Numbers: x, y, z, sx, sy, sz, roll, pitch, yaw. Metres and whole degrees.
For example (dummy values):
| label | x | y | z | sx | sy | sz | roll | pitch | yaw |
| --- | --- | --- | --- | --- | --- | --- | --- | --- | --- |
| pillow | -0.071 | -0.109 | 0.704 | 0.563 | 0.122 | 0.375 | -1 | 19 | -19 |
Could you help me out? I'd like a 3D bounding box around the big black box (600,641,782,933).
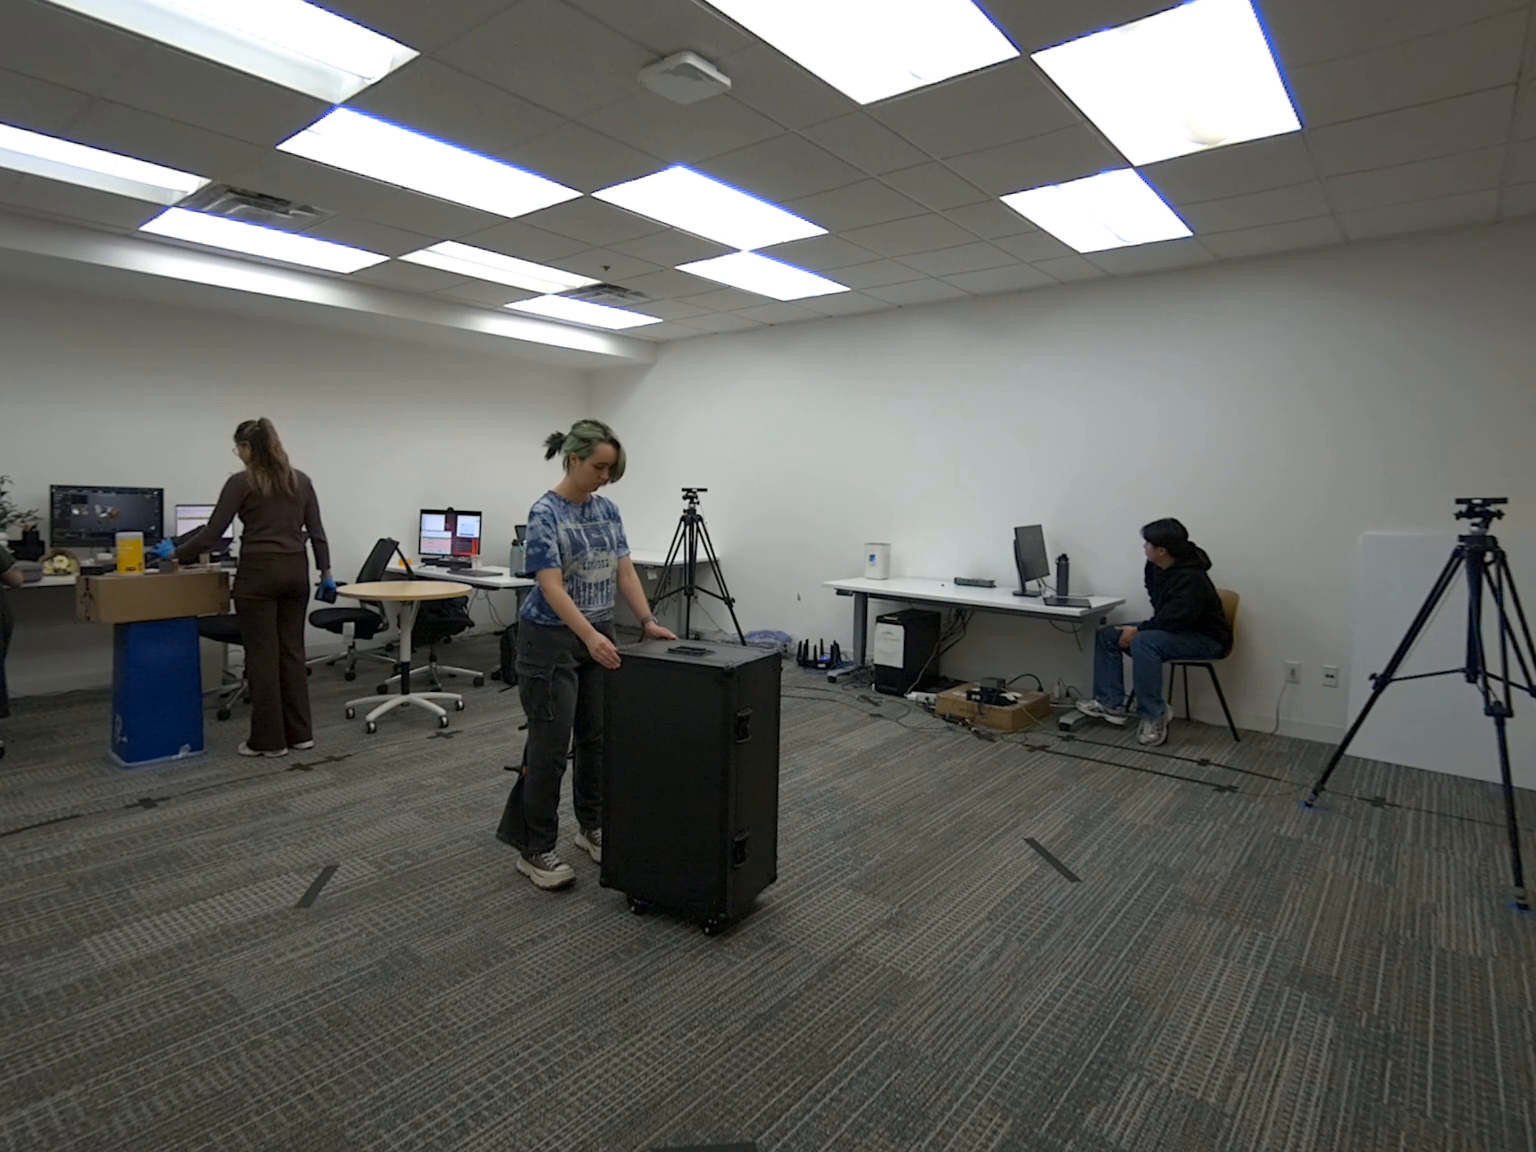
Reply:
| label | x | y | z | sx | sy | sz | roll | pitch | yaw |
| --- | --- | --- | --- | --- | --- | --- | --- | --- | --- |
| big black box | -0.259 | 0.673 | 2.837 | 0.536 | 0.860 | 0.386 | 2 | 2 | 29 |
